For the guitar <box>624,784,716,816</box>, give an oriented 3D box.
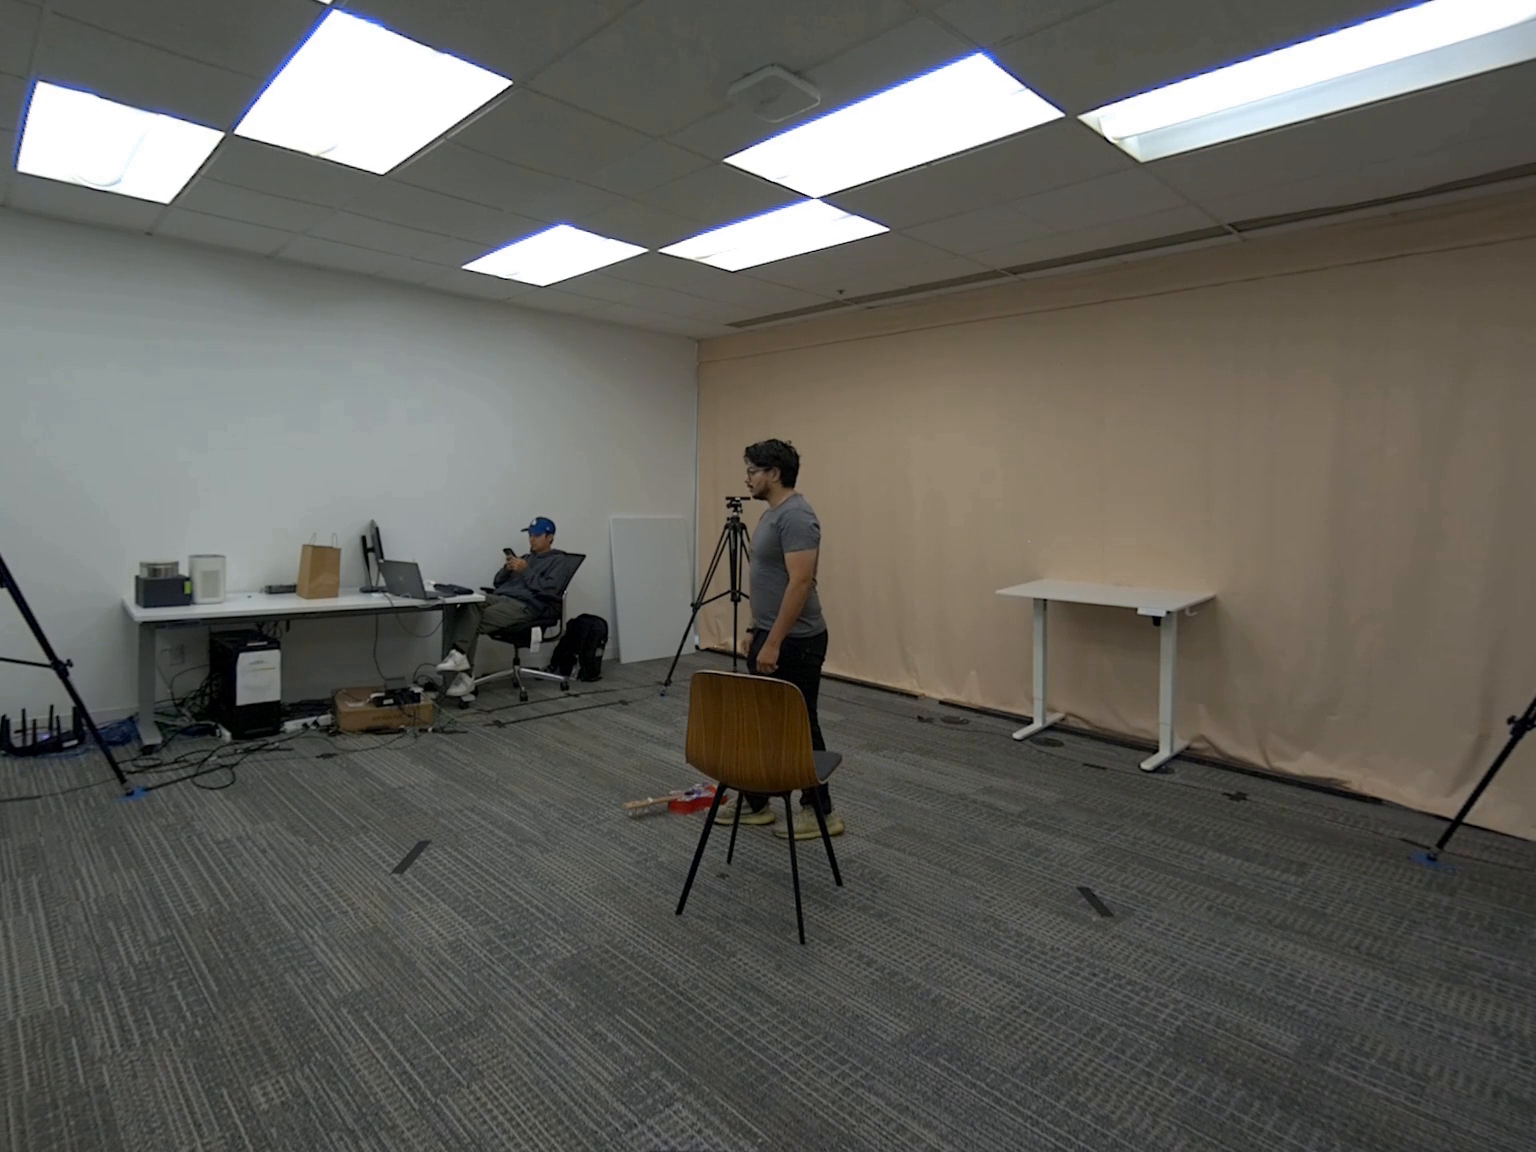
[{"bbox_3d":[-0.437,1.007,3.784,0.489,0.070,0.197,-1,6,-24],"label":"guitar"}]
